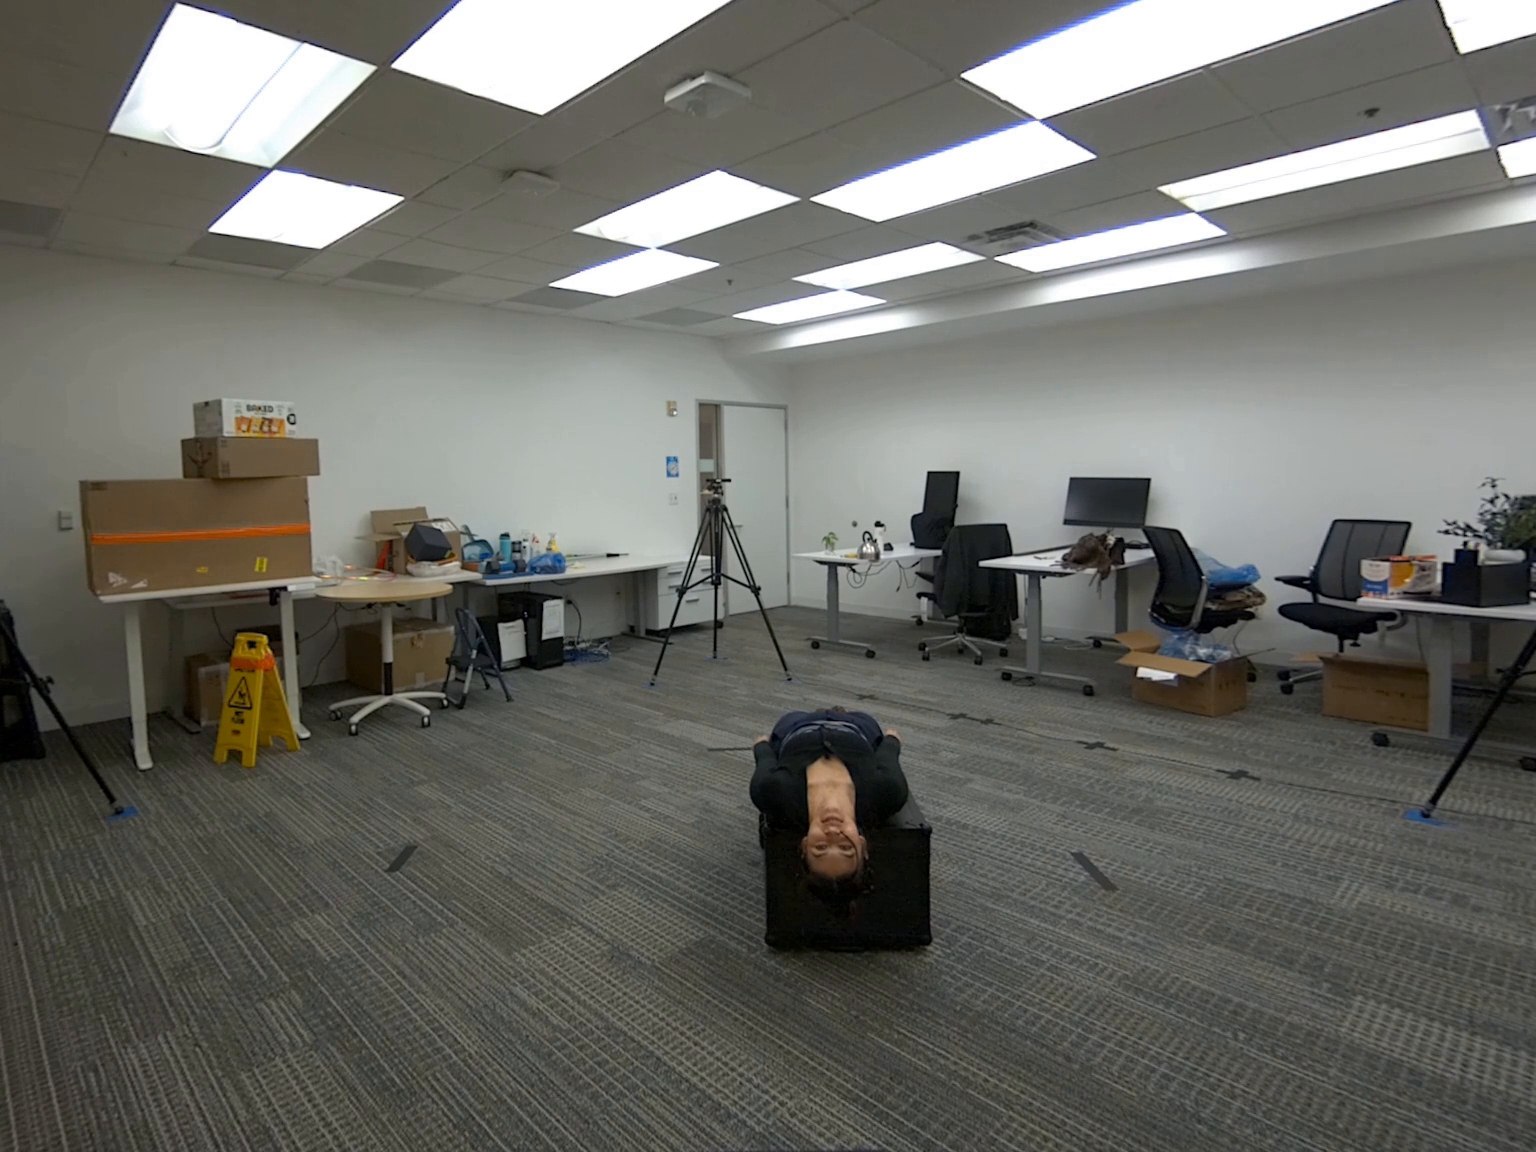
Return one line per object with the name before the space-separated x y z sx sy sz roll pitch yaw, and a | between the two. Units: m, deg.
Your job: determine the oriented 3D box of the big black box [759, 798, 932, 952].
big black box | 0.228 0.865 2.915 0.521 0.394 0.866 -2 7 -1
